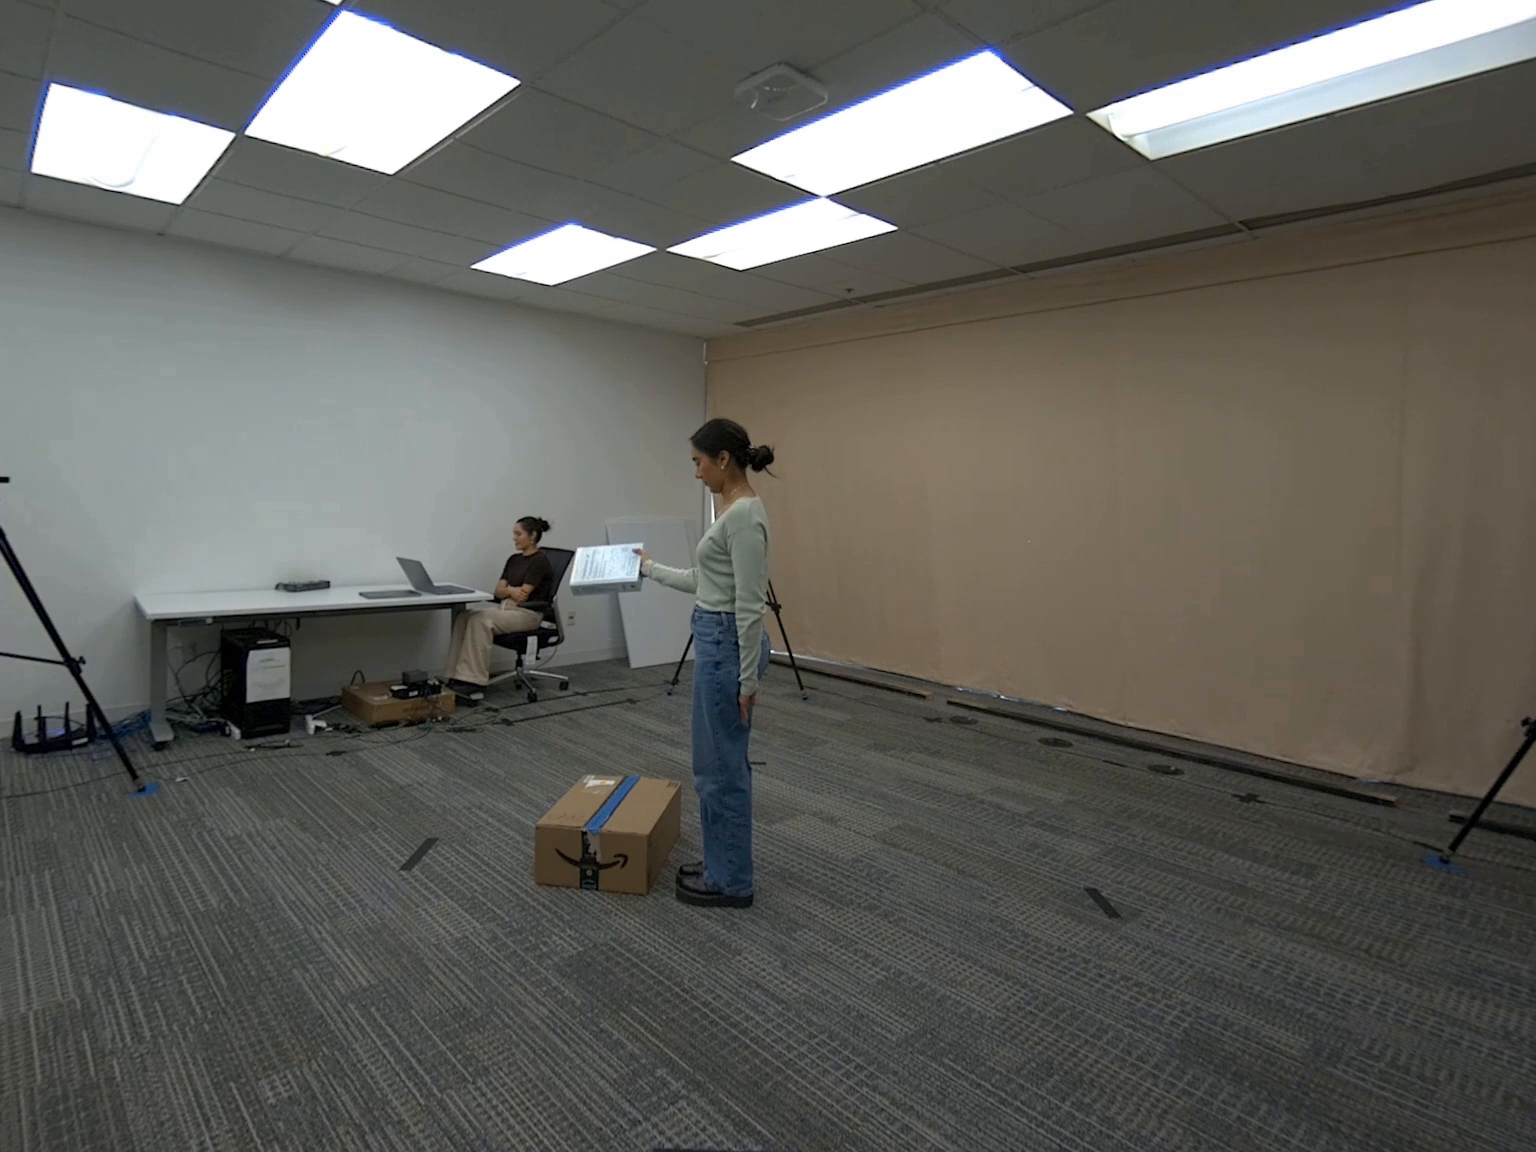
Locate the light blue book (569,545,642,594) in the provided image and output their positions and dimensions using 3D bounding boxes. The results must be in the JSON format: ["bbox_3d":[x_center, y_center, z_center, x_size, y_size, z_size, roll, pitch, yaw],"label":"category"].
[{"bbox_3d":[-0.600,-0.024,3.170,0.263,0.195,0.057,-4,-41,9],"label":"light blue book"}]
